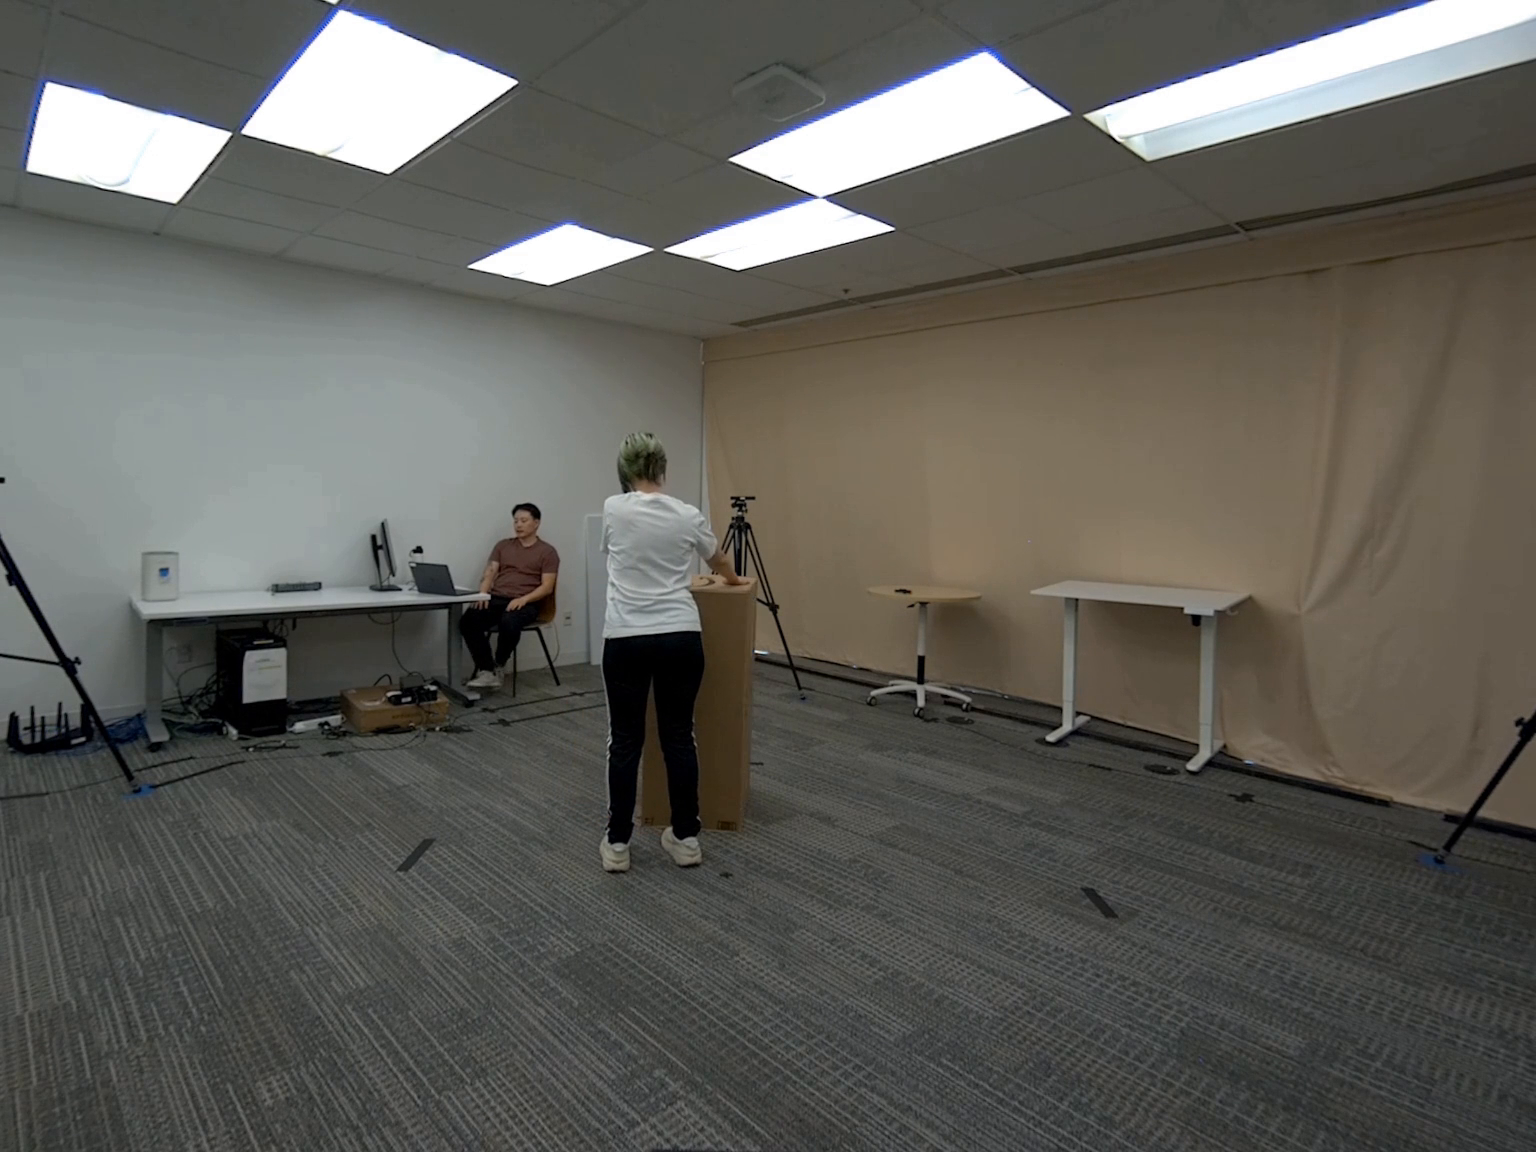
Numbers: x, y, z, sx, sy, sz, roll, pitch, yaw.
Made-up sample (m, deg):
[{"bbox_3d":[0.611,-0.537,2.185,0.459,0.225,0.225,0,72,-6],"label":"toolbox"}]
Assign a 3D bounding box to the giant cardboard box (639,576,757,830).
[{"bbox_3d":[-0.307,0.536,3.776,0.448,1.024,0.584,3,4,3],"label":"giant cardboard box"}]
